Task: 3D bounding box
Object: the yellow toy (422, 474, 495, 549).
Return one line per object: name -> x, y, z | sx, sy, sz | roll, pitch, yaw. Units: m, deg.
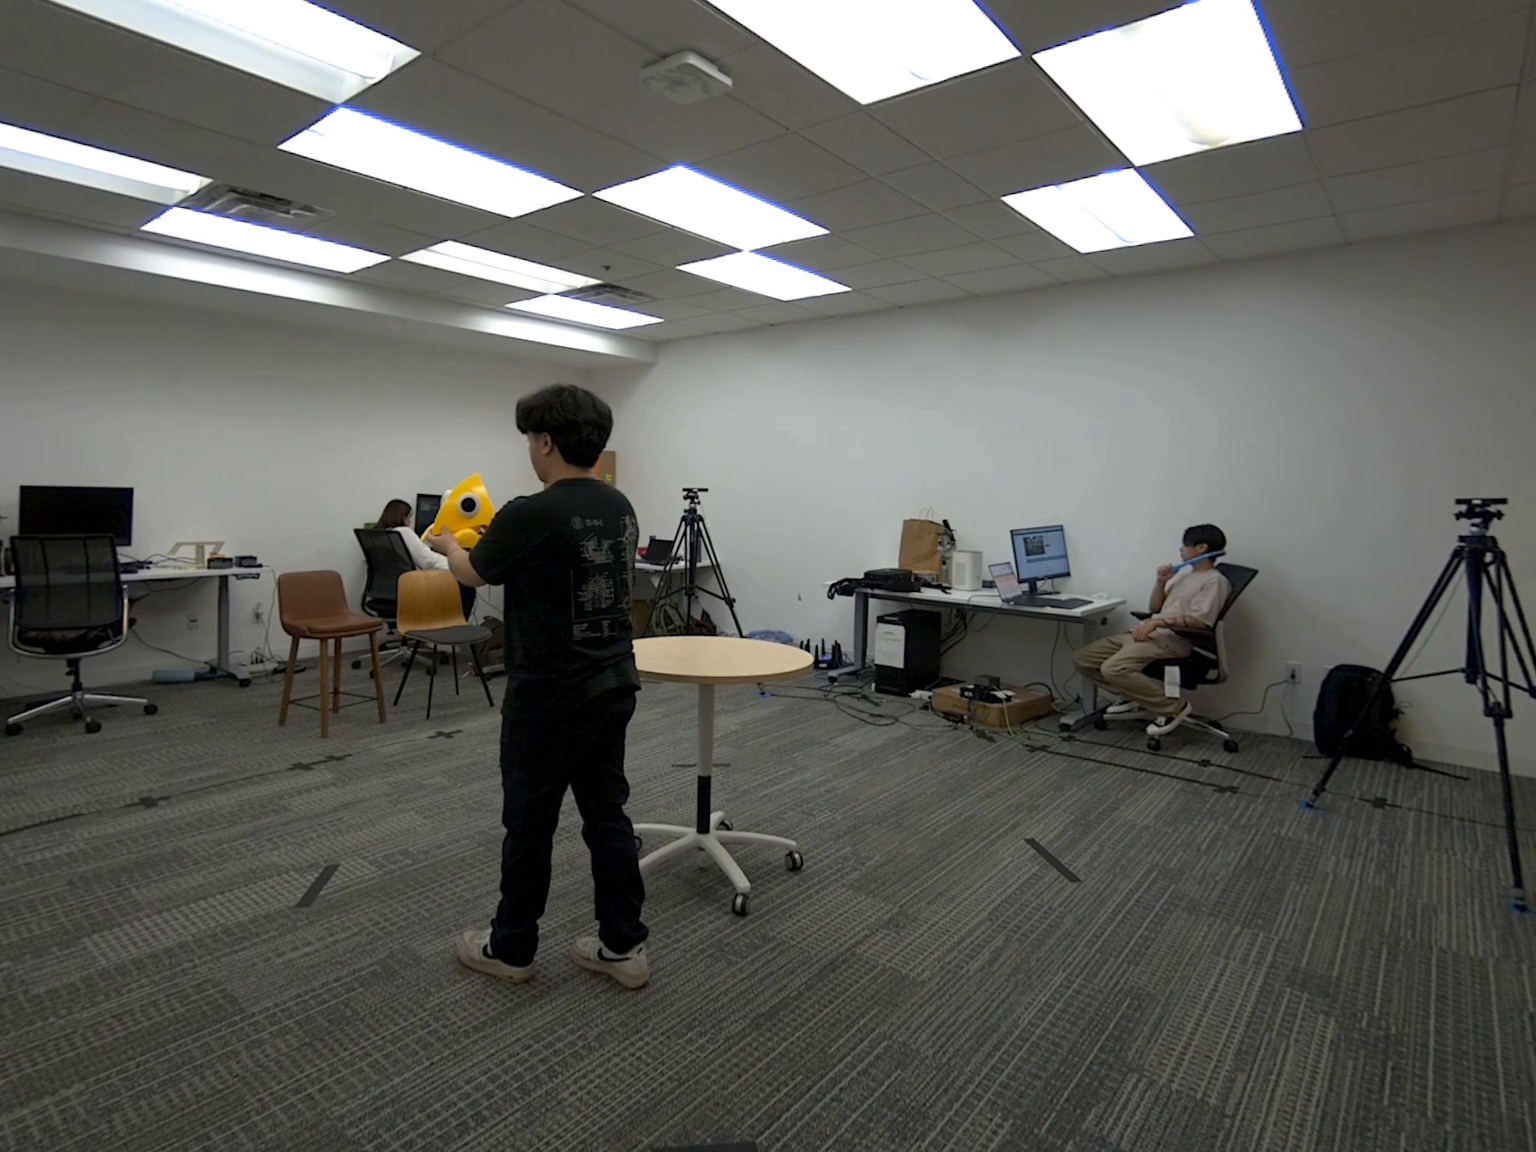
yellow toy -> -1.000, -0.221, 2.729 | 0.212, 0.230, 0.187 | 9, 6, 34
